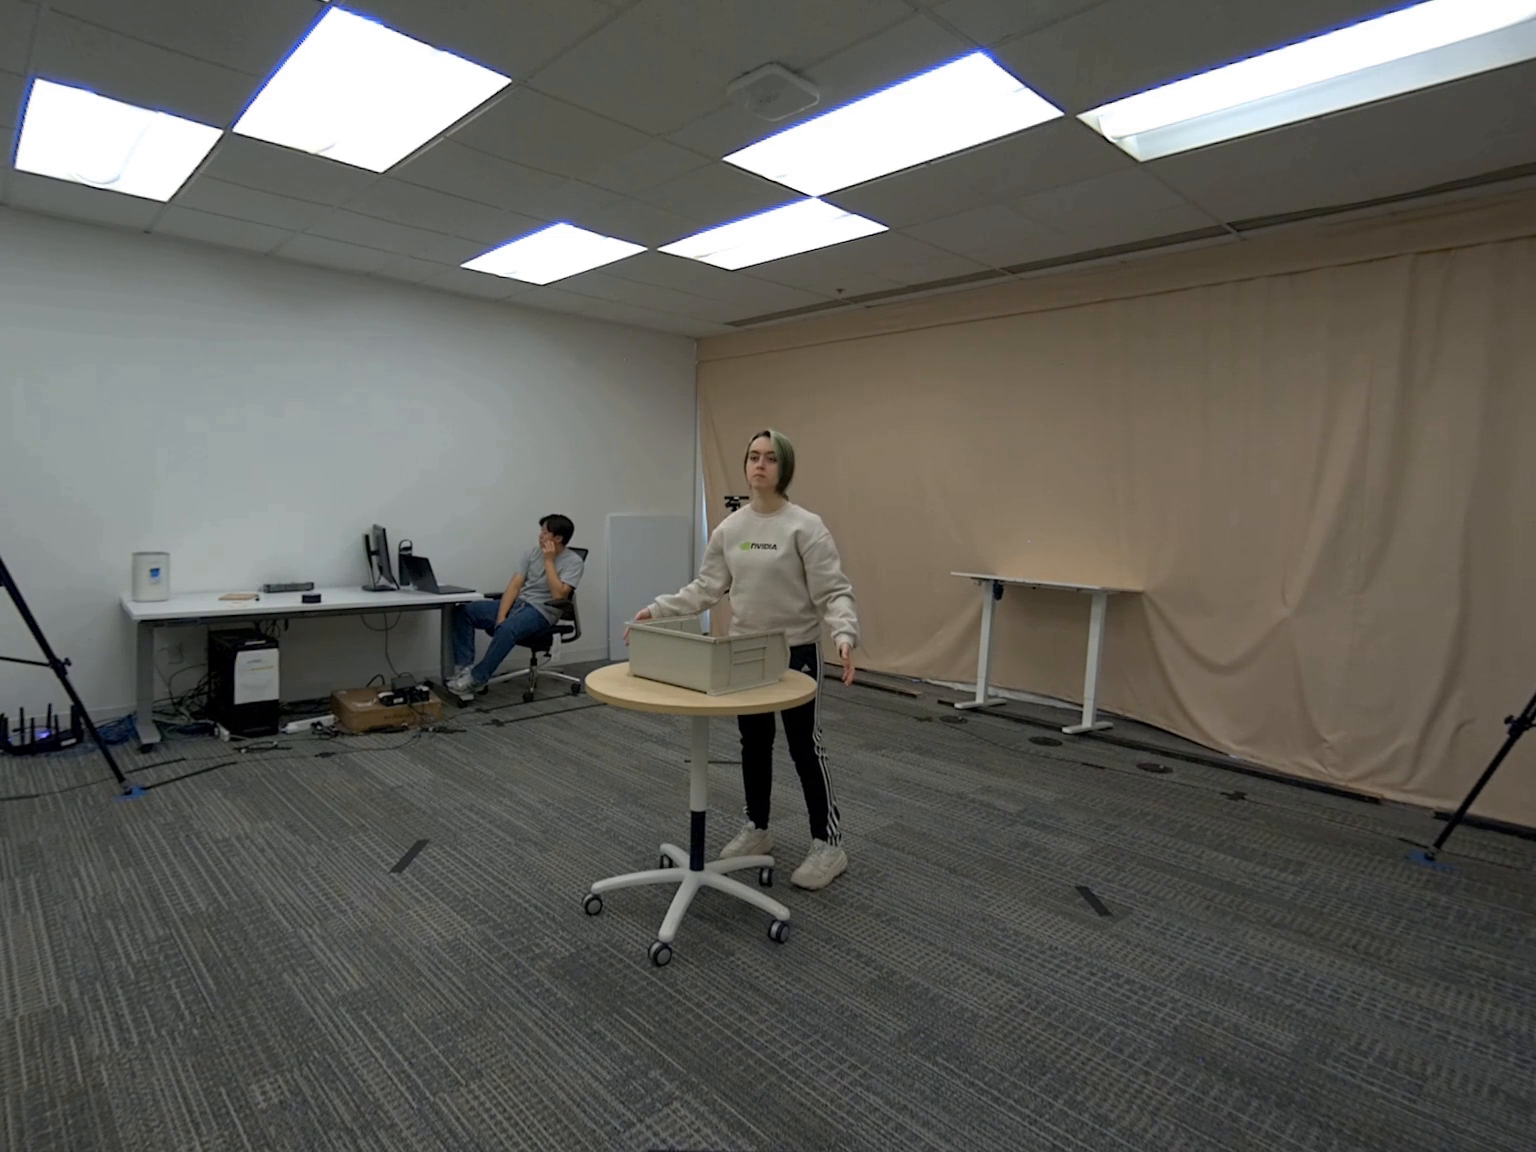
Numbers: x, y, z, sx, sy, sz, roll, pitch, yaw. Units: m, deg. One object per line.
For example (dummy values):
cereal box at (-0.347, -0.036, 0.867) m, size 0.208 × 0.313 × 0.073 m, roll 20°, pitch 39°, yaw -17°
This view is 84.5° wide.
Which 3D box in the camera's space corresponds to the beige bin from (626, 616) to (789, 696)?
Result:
beige bin at (-0.207, 0.257, 2.815) m, size 0.433 × 0.188 × 0.369 m, roll 6°, pitch 7°, yaw 41°
